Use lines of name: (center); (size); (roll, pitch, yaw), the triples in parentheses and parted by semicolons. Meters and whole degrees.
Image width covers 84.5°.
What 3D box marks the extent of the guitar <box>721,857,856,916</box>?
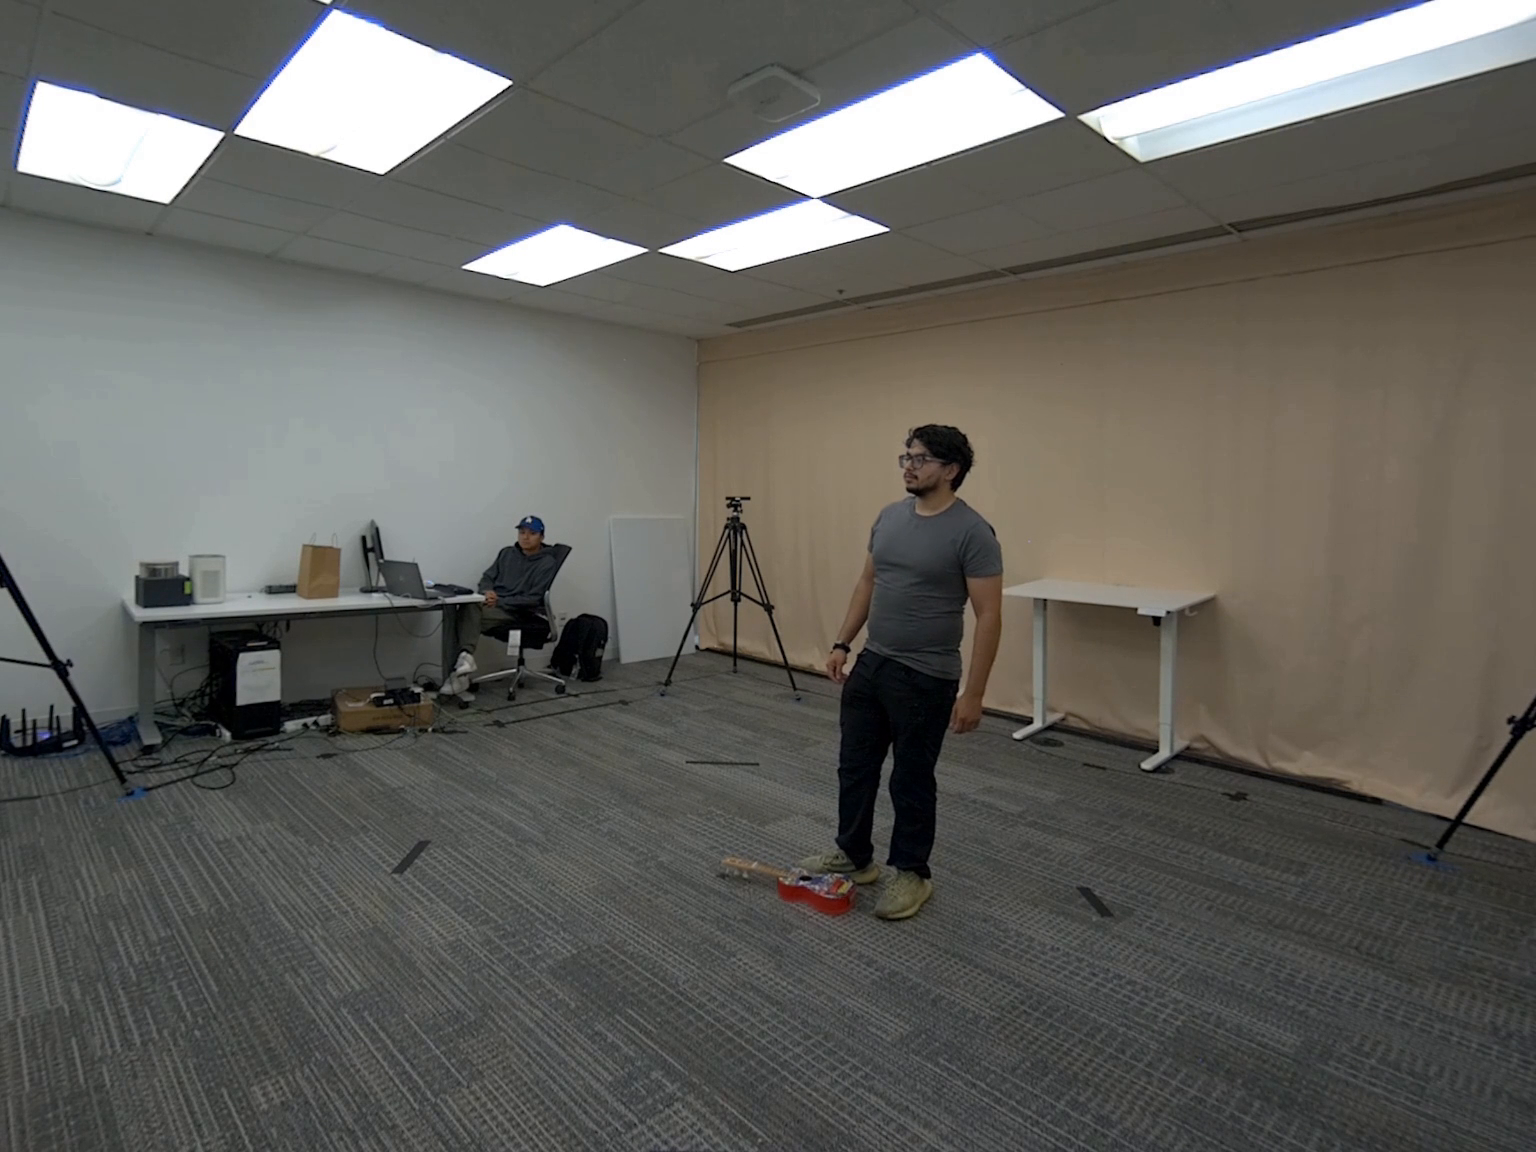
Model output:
guitar: (0.073, 1.080, 3.021); (0.510, 0.070, 0.189); (5, 6, 34)
